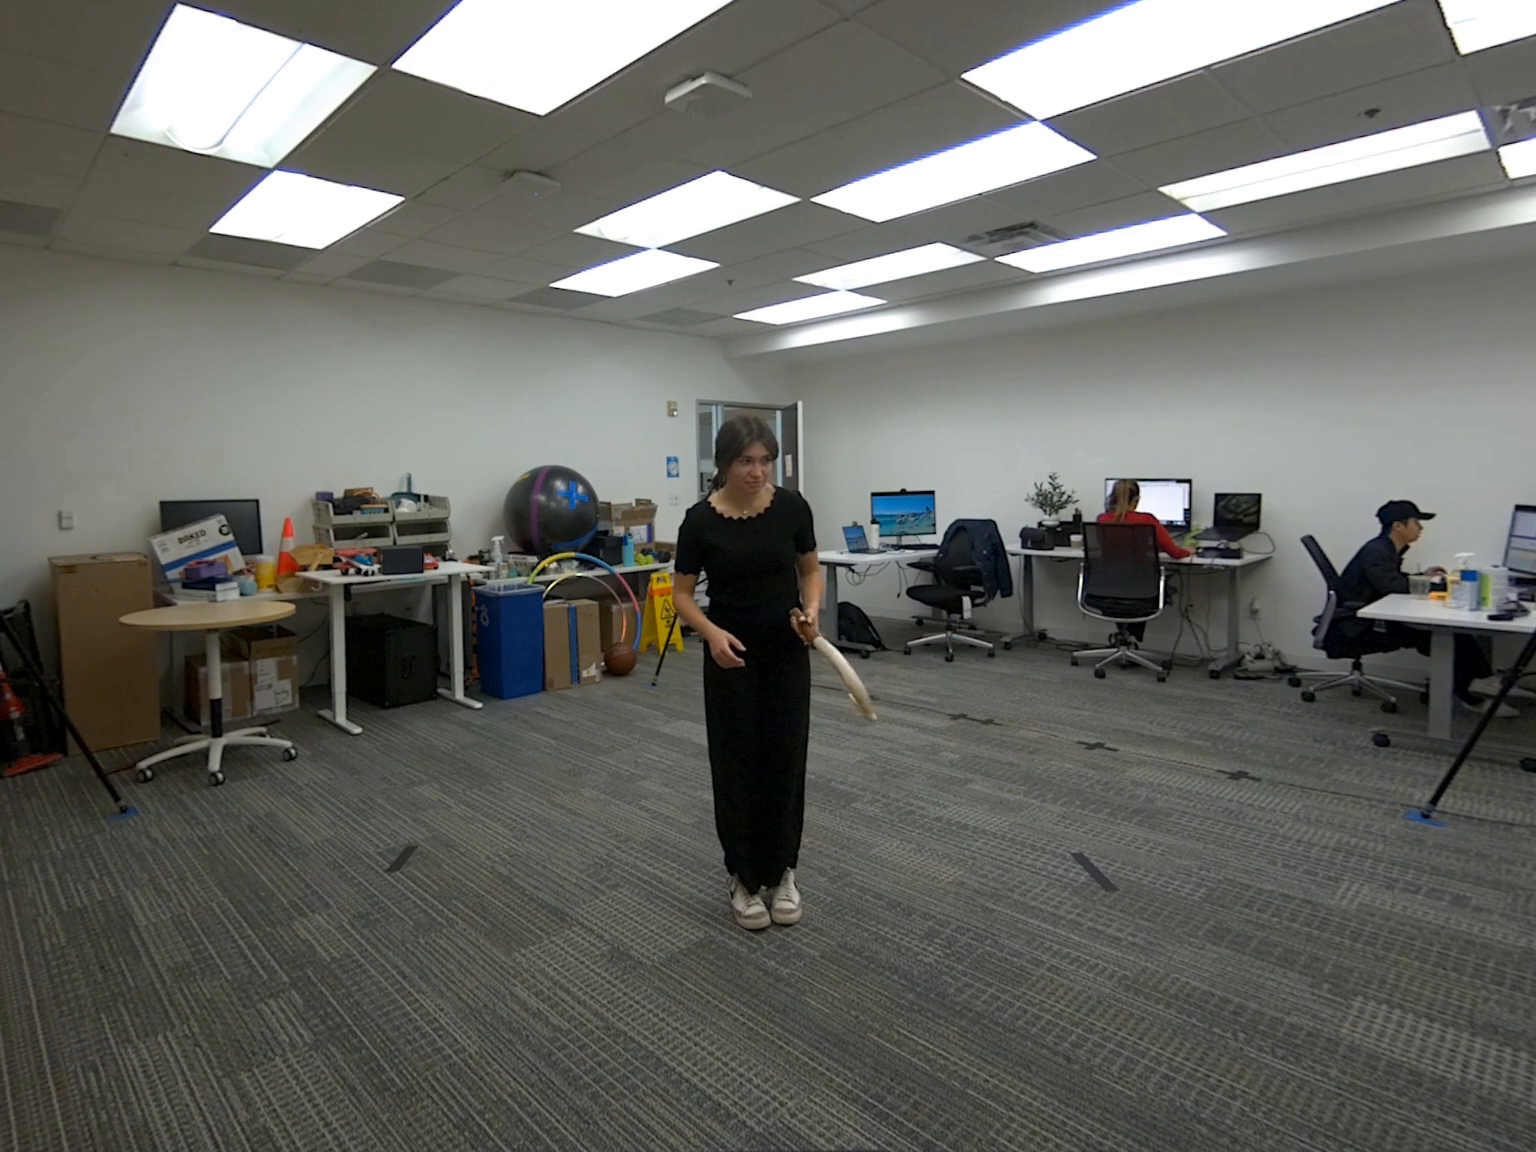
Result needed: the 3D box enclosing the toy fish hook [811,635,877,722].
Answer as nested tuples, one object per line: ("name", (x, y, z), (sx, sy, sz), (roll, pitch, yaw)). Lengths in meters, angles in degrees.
("toy fish hook", (0.179, 0.245, 2.431), (0.048, 0.219, 0.521), (-24, 25, -6))
